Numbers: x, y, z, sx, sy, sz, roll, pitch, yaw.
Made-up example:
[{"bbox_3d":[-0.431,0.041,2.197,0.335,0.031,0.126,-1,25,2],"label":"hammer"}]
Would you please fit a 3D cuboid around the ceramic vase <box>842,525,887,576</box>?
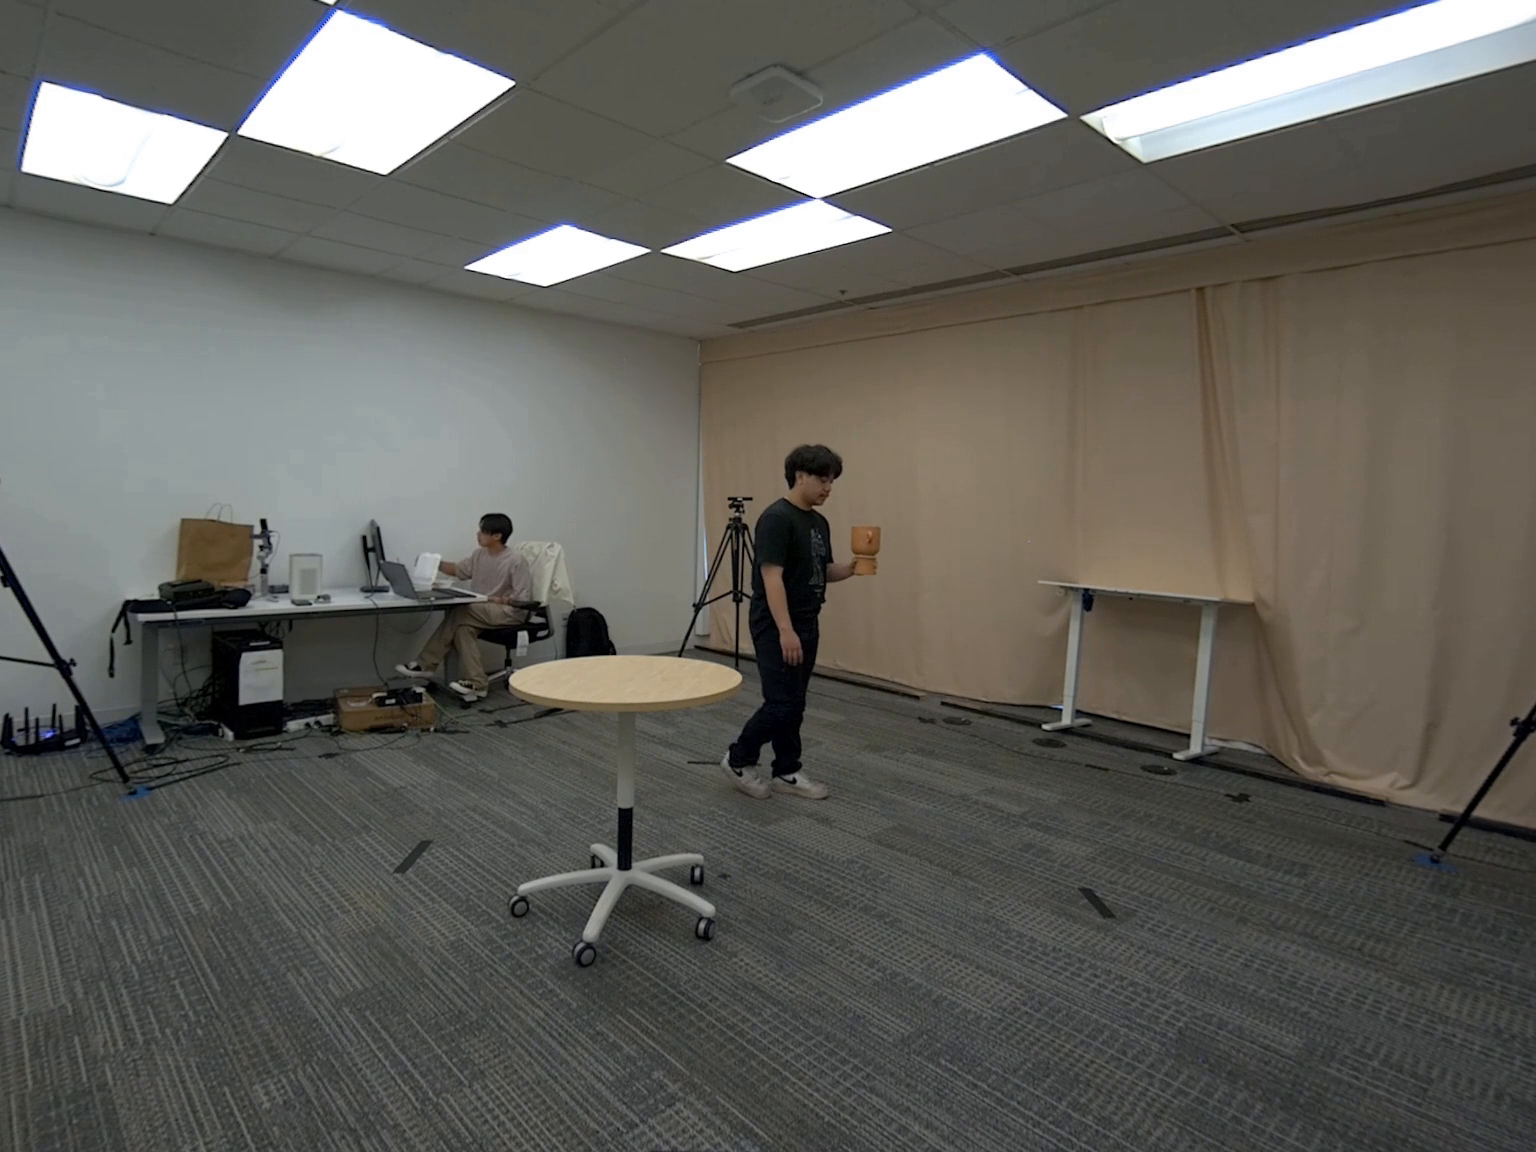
[{"bbox_3d":[0.442,-0.120,3.877,0.138,0.220,0.155,3,1,34],"label":"ceramic vase"}]
